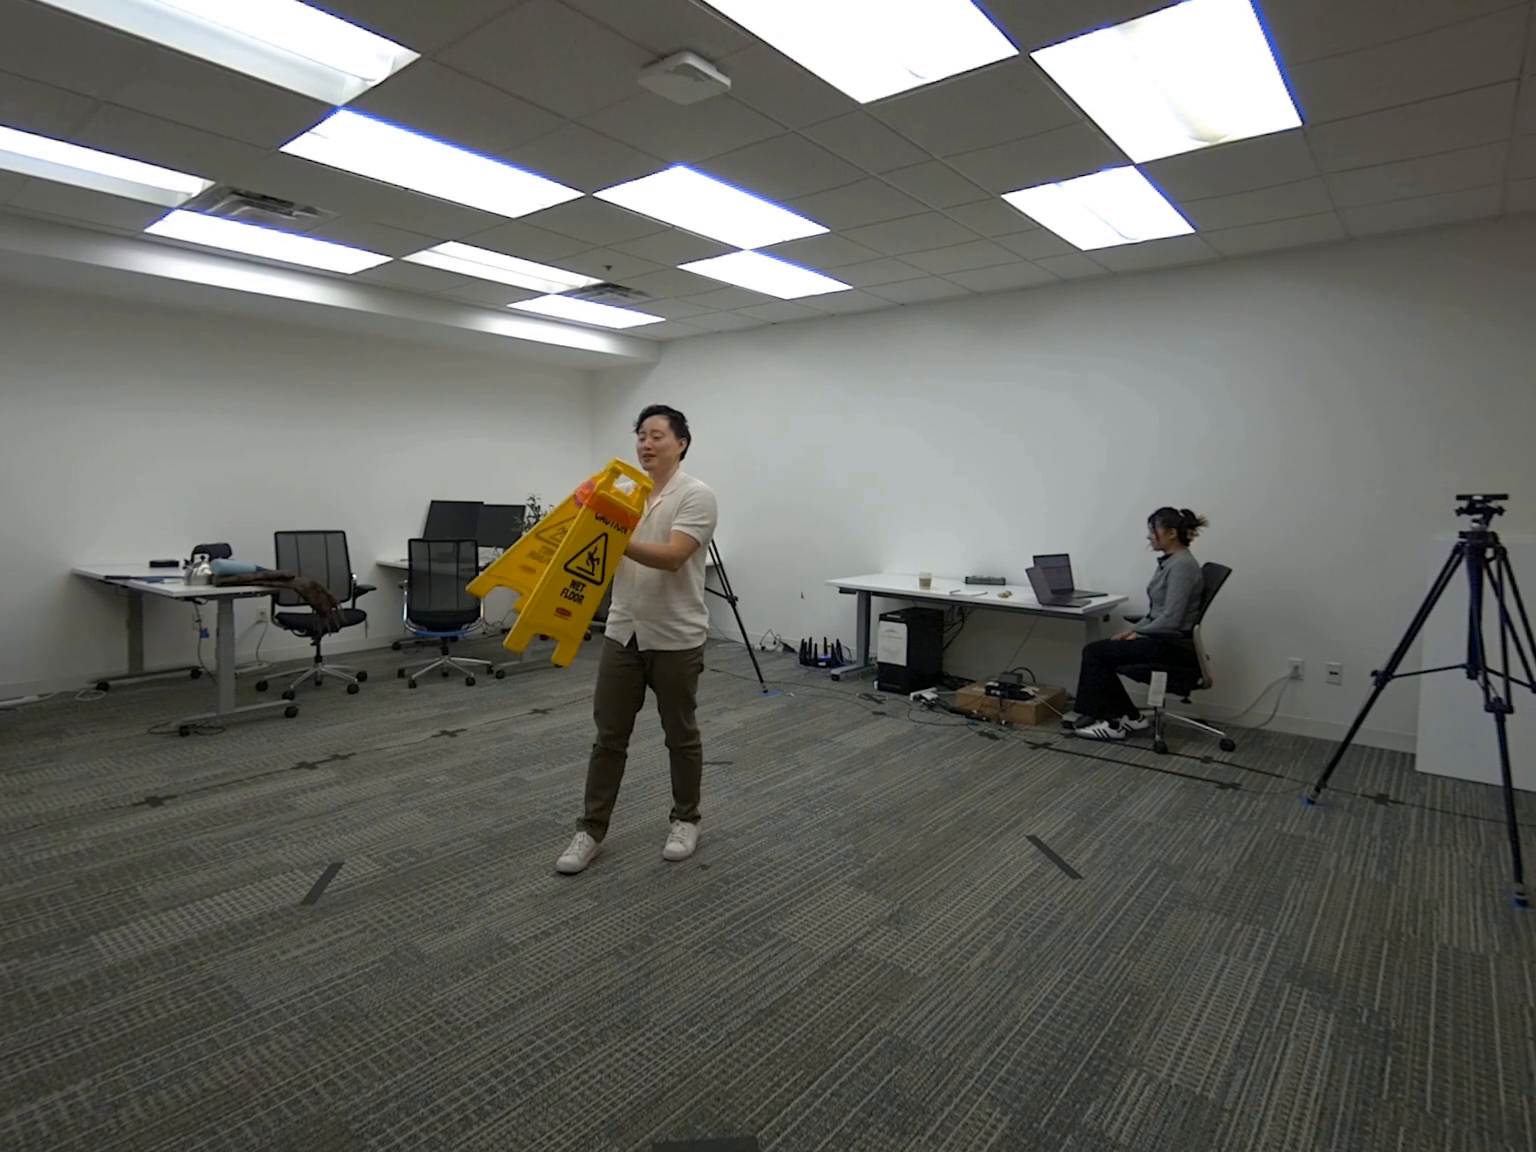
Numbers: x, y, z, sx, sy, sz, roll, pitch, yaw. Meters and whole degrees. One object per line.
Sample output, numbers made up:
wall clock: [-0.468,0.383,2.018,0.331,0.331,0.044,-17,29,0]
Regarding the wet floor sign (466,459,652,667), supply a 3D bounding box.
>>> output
wet floor sign: [-0.630,-0.083,2.699,0.302,0.645,0.271,41,6,38]
